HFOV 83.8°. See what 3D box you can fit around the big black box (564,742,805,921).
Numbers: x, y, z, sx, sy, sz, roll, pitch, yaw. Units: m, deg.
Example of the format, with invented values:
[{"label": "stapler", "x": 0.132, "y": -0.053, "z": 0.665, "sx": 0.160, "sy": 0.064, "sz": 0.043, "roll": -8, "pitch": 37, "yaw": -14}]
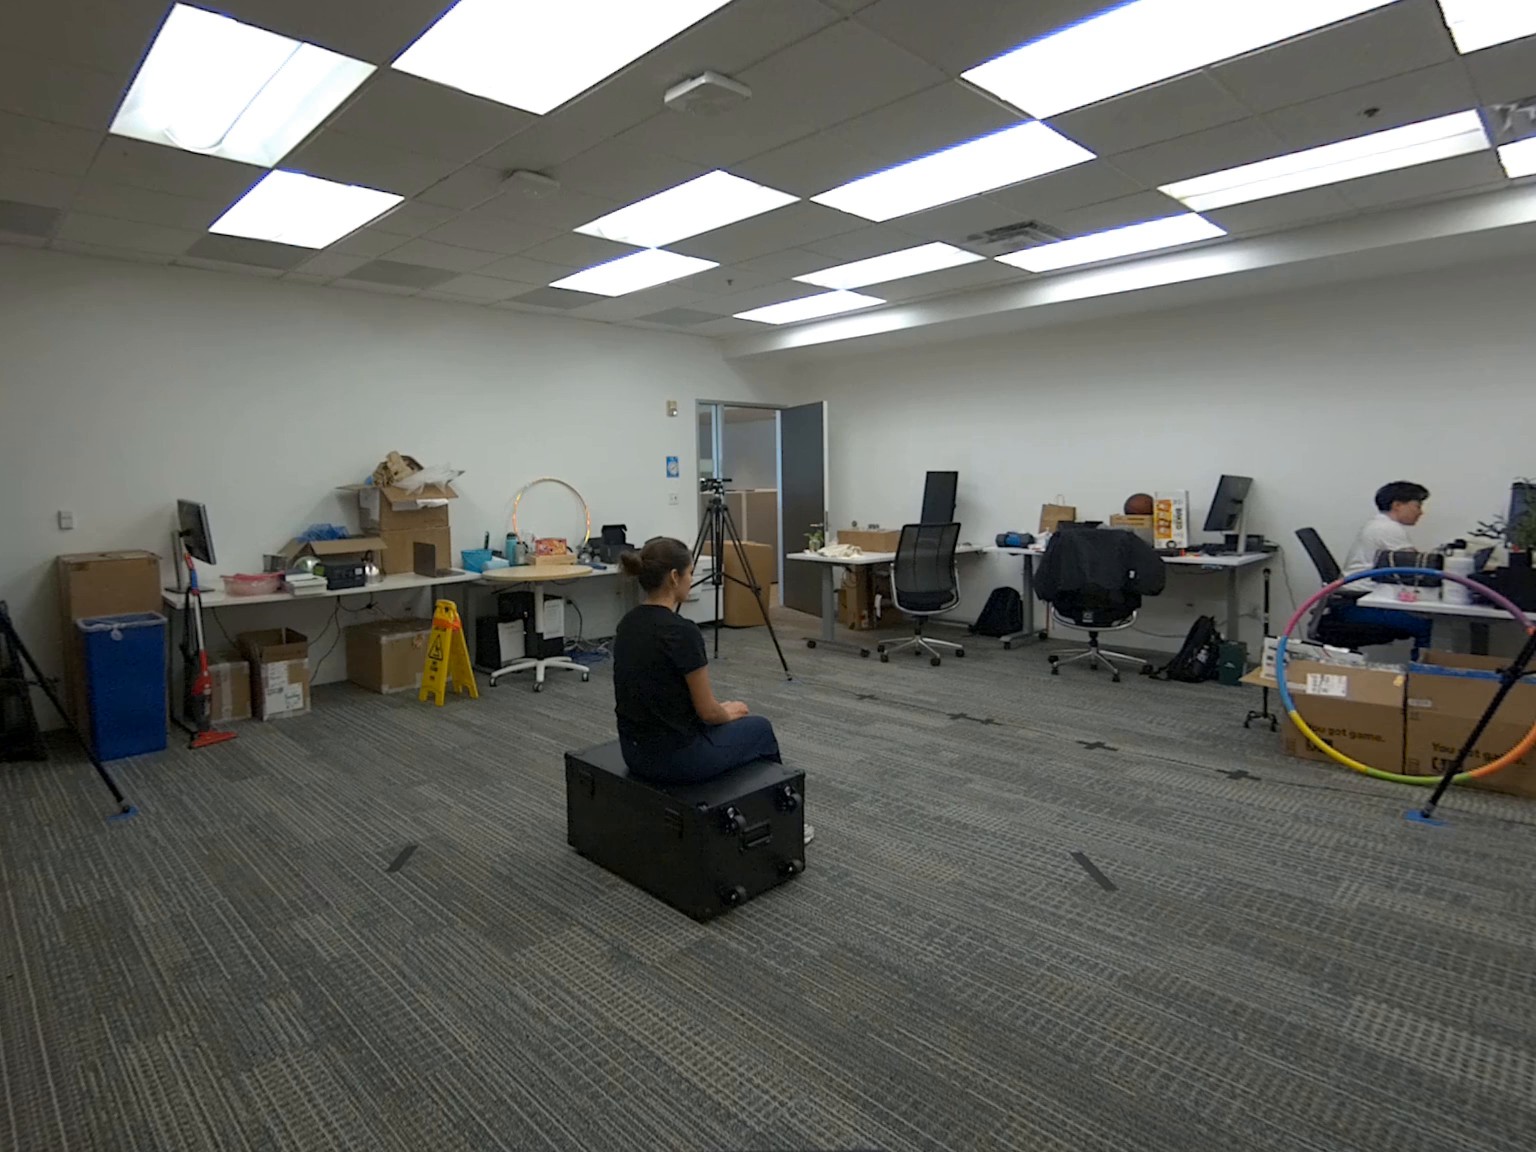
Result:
[{"label": "big black box", "x": -0.296, "y": 0.863, "z": 3.092, "sx": 0.508, "sy": 0.394, "sz": 0.888, "roll": -7, "pitch": 8, "yaw": -44}]
